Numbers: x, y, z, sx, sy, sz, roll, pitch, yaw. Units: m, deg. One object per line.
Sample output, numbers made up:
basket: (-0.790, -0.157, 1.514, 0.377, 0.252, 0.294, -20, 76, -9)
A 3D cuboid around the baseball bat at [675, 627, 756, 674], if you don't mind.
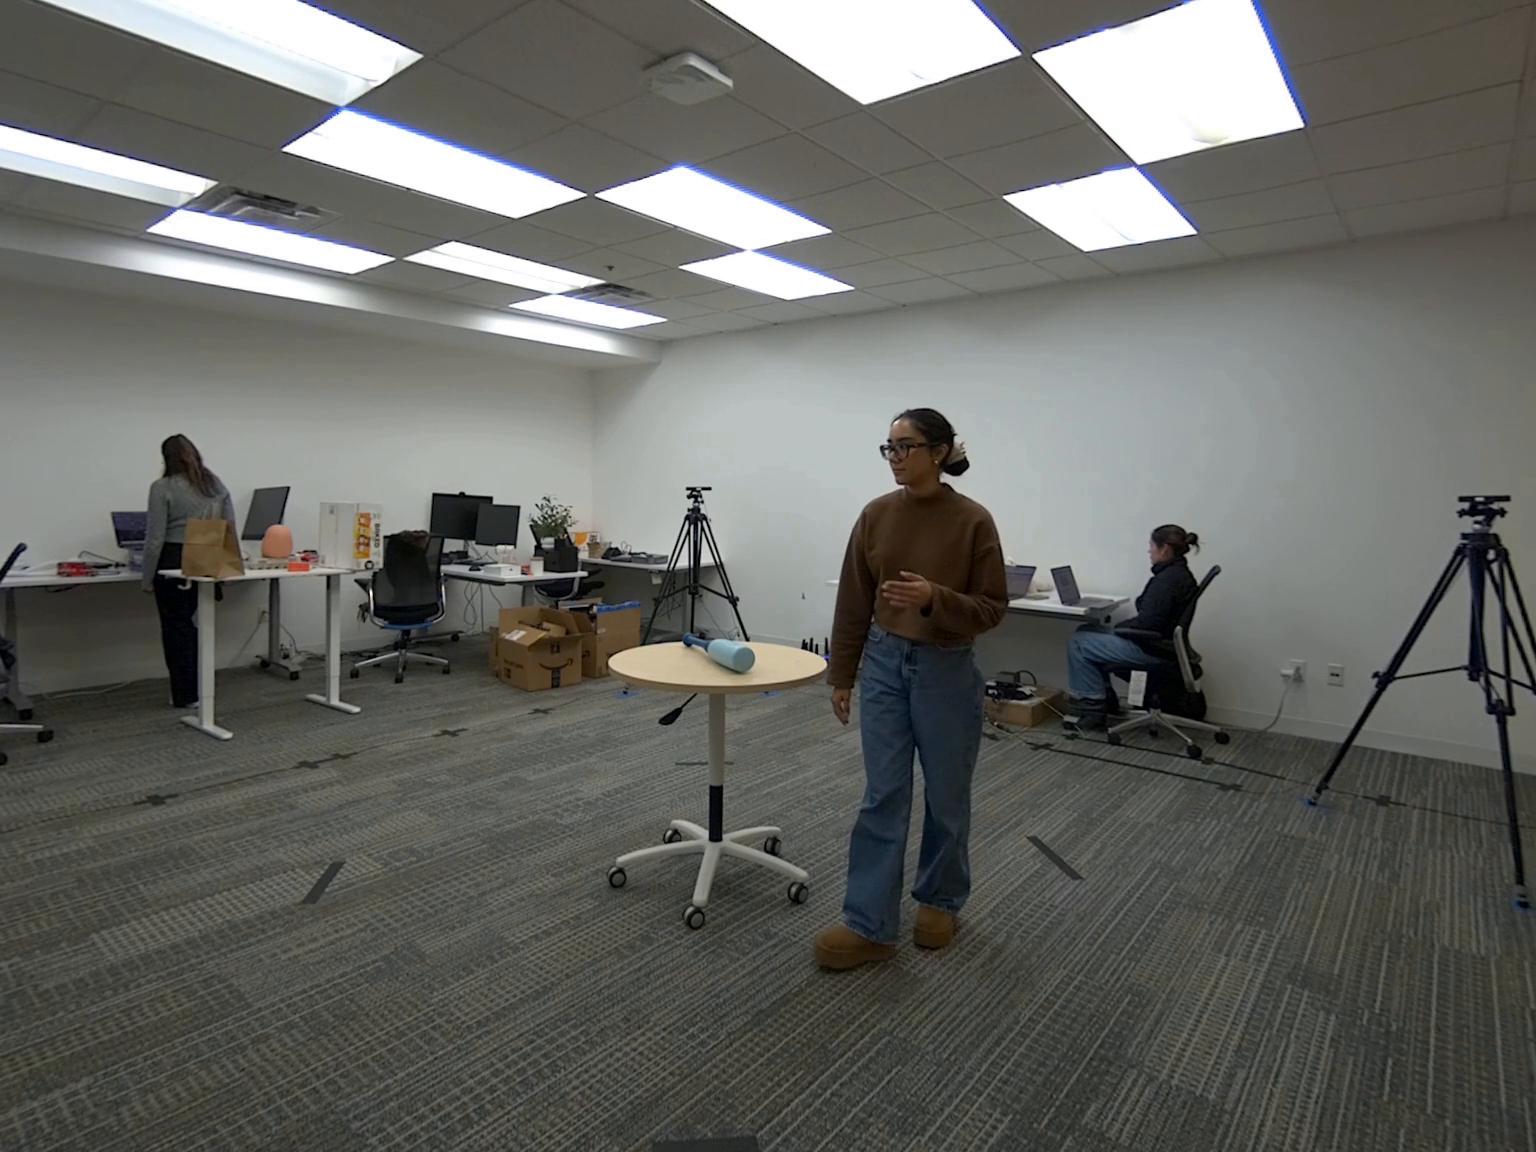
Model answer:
baseball bat: (-0.201, 0.258, 3.005, 0.087, 0.089, 0.556, -1, 3, -25)
